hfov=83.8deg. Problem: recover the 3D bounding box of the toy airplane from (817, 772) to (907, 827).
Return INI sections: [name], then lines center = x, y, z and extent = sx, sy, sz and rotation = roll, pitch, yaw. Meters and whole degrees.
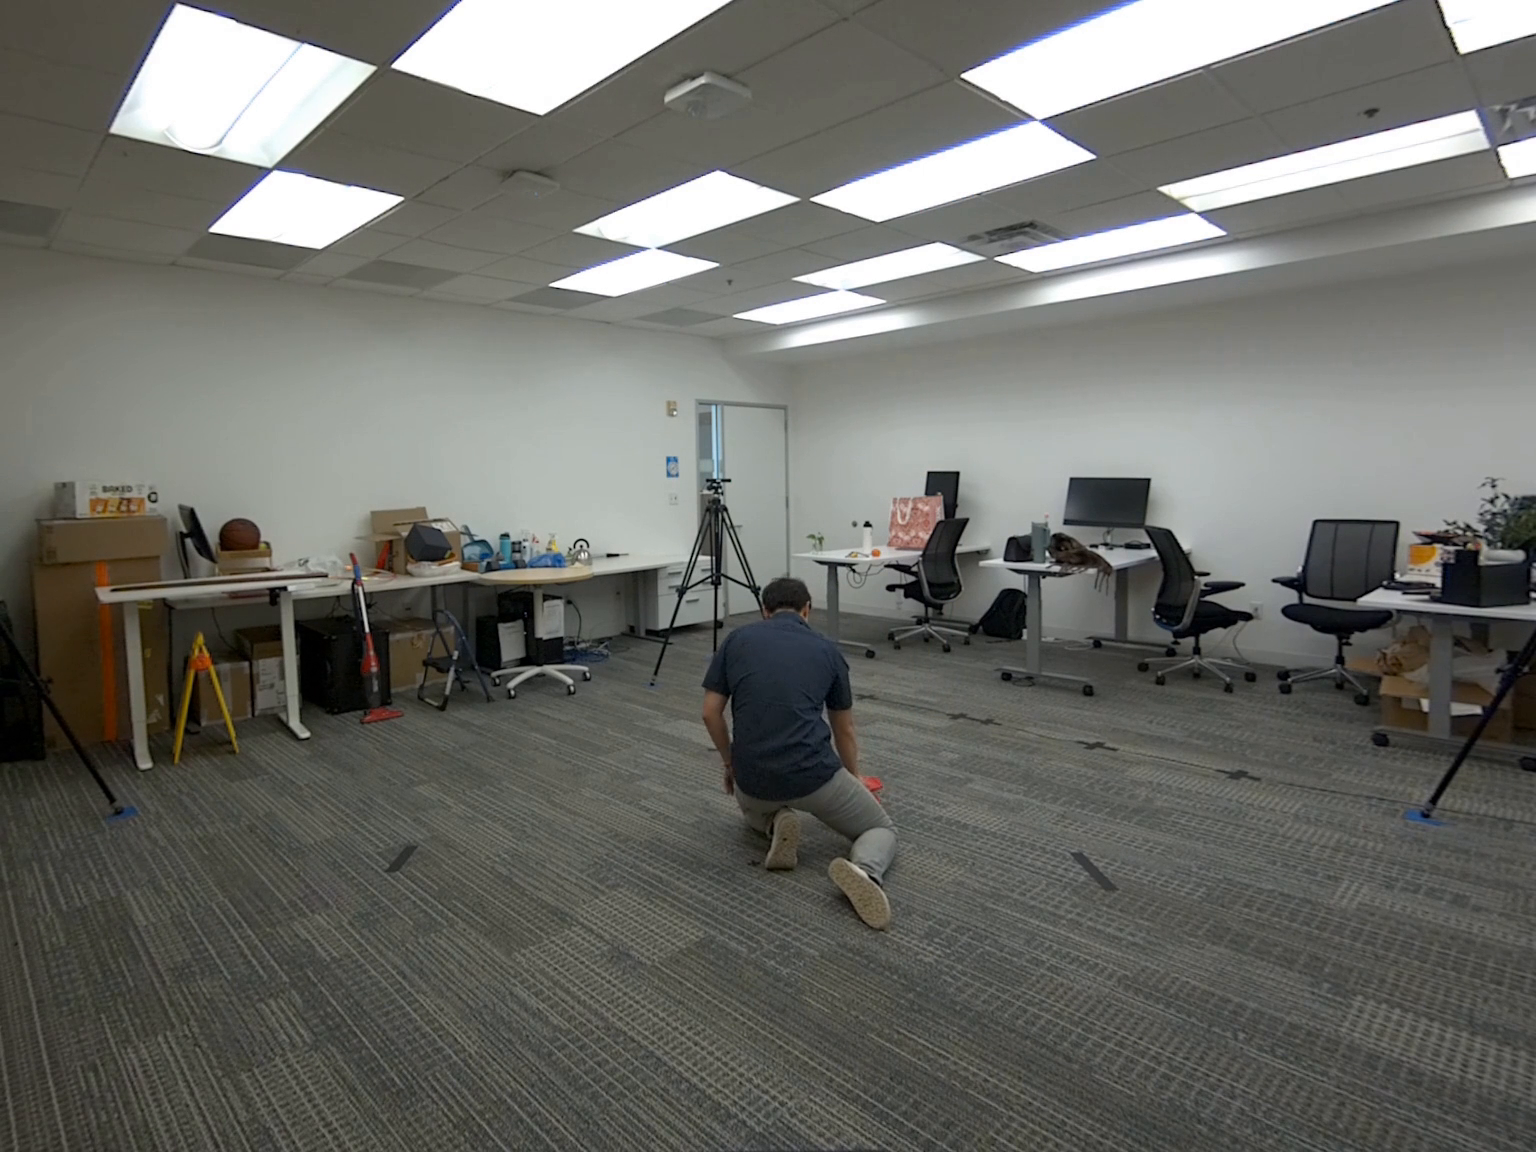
[toy airplane]
center = 0.378, 0.920, 3.481
extent = 0.267, 0.156, 0.244
rotation = 1, 5, 41
